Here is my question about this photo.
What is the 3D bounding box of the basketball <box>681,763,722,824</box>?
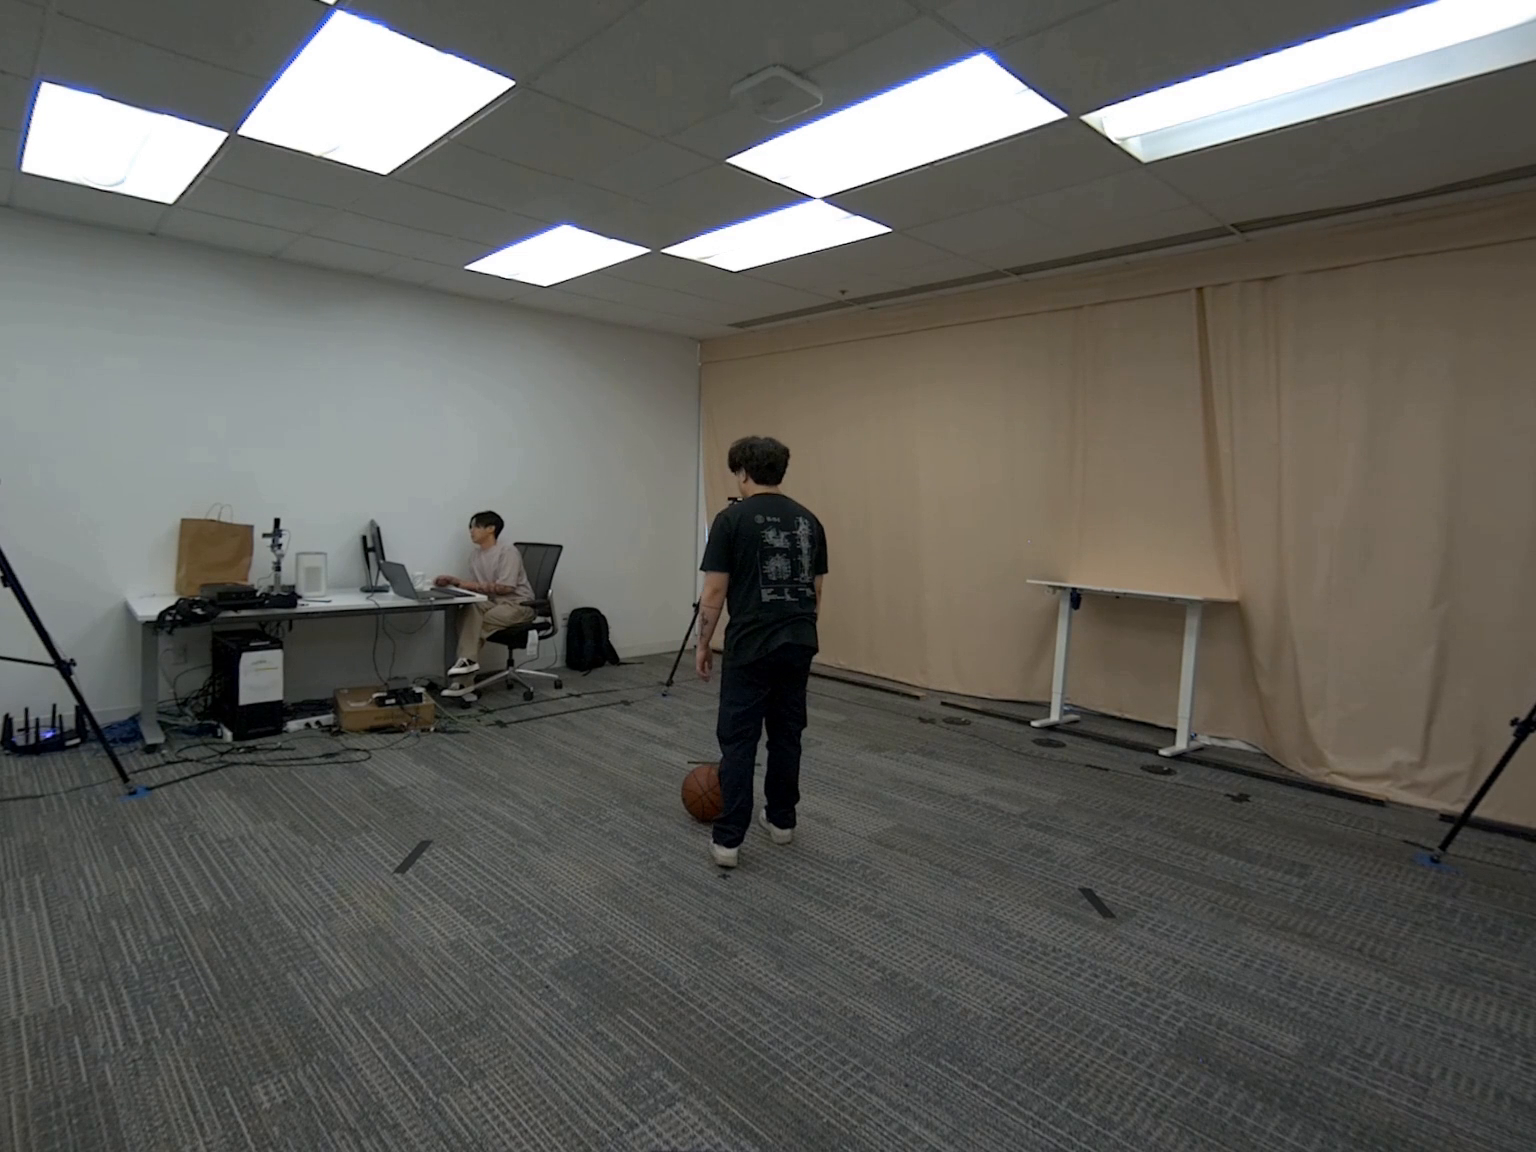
[{"bbox_3d":[-0.273,0.936,3.654,0.236,0.235,0.237,1,4,-1],"label":"basketball"}]
